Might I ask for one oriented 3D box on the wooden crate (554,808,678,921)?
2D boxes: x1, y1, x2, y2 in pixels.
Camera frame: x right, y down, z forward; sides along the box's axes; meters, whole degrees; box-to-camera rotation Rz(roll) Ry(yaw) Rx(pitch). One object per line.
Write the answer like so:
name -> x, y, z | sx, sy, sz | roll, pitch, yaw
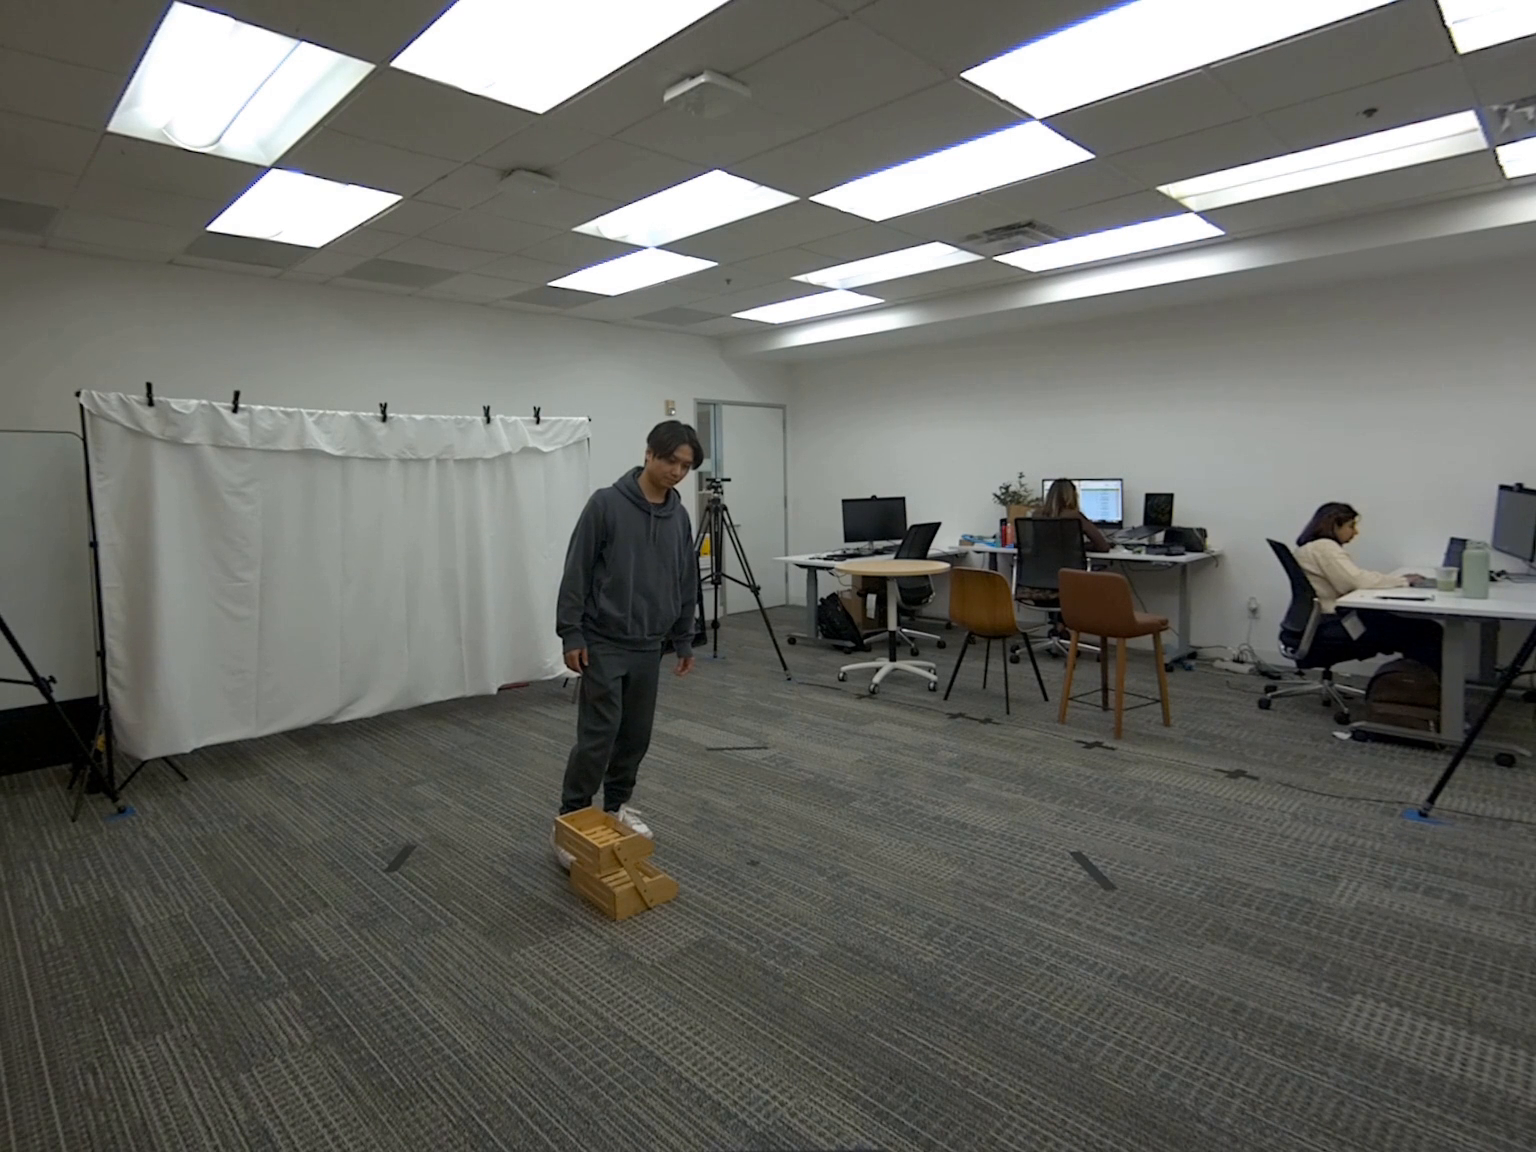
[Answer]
wooden crate -> -0.504, 0.942, 2.880 | 0.294, 0.272, 0.334 | -7, 8, -40
